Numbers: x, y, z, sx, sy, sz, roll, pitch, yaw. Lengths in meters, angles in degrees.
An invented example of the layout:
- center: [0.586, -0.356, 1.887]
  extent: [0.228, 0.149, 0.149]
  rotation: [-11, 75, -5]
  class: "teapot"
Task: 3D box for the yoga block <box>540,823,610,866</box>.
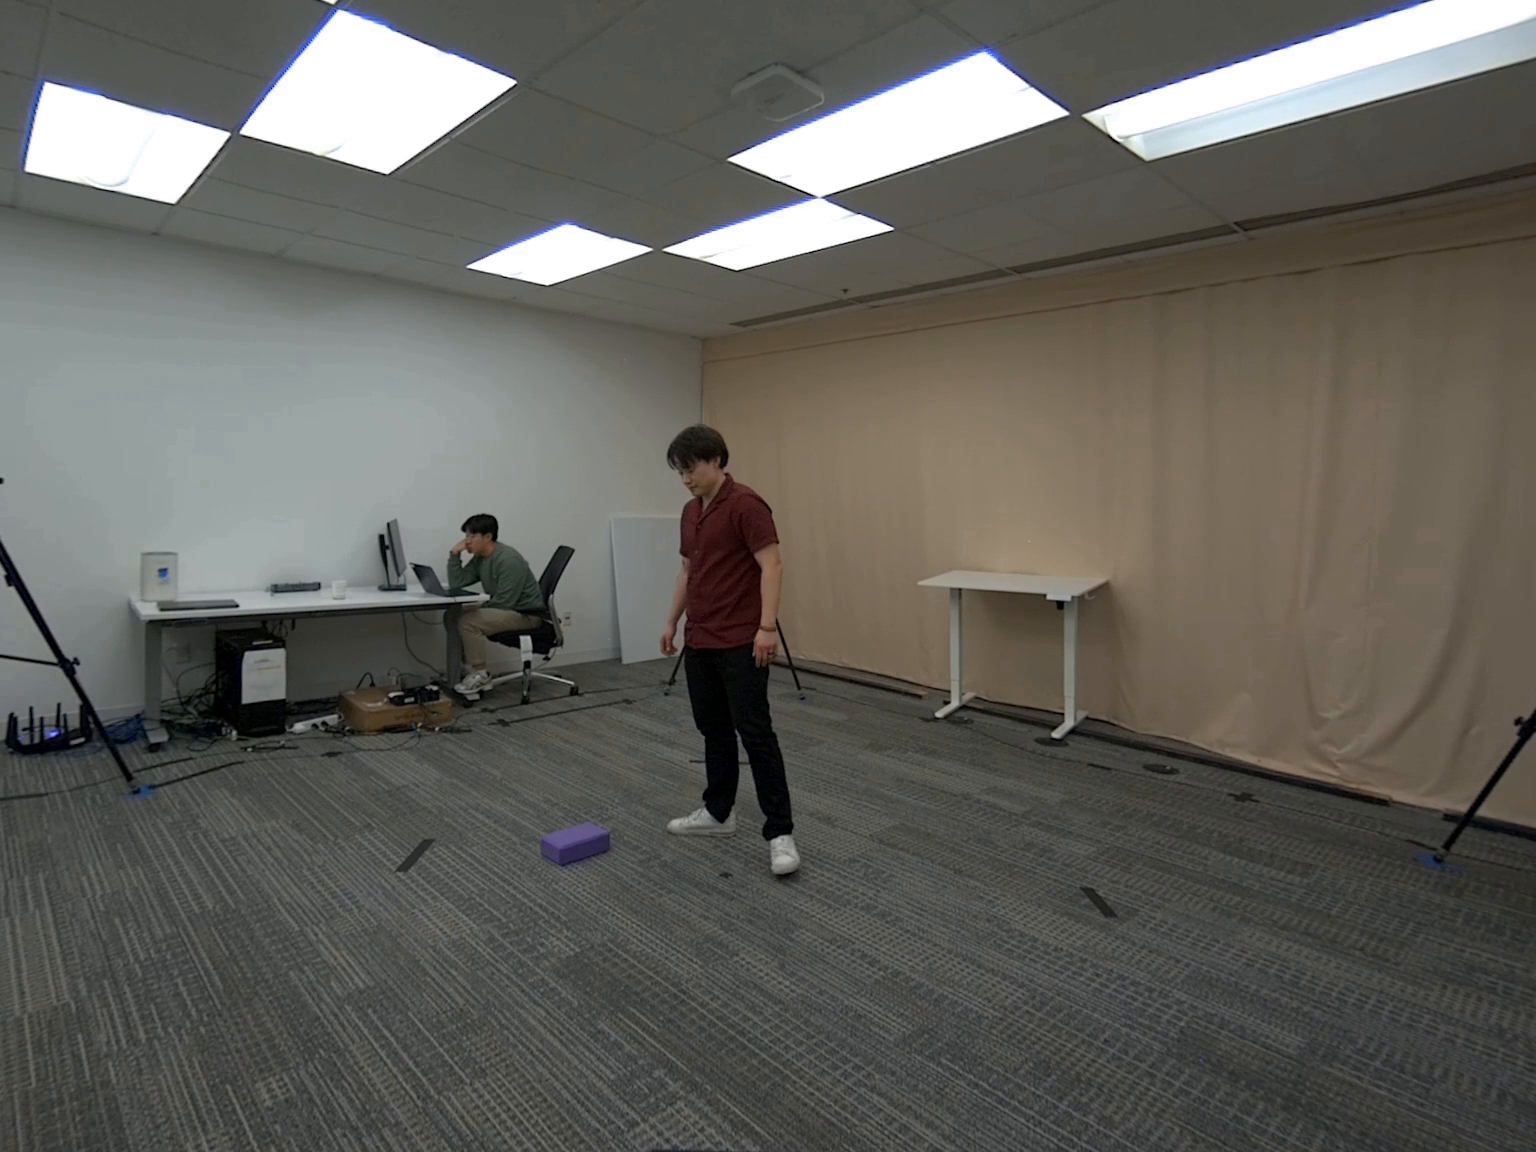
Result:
- center: [-0.754, 1.038, 3.263]
  extent: [0.153, 0.076, 0.224]
  rotation: [6, 8, 43]
  class: "yoga block"
